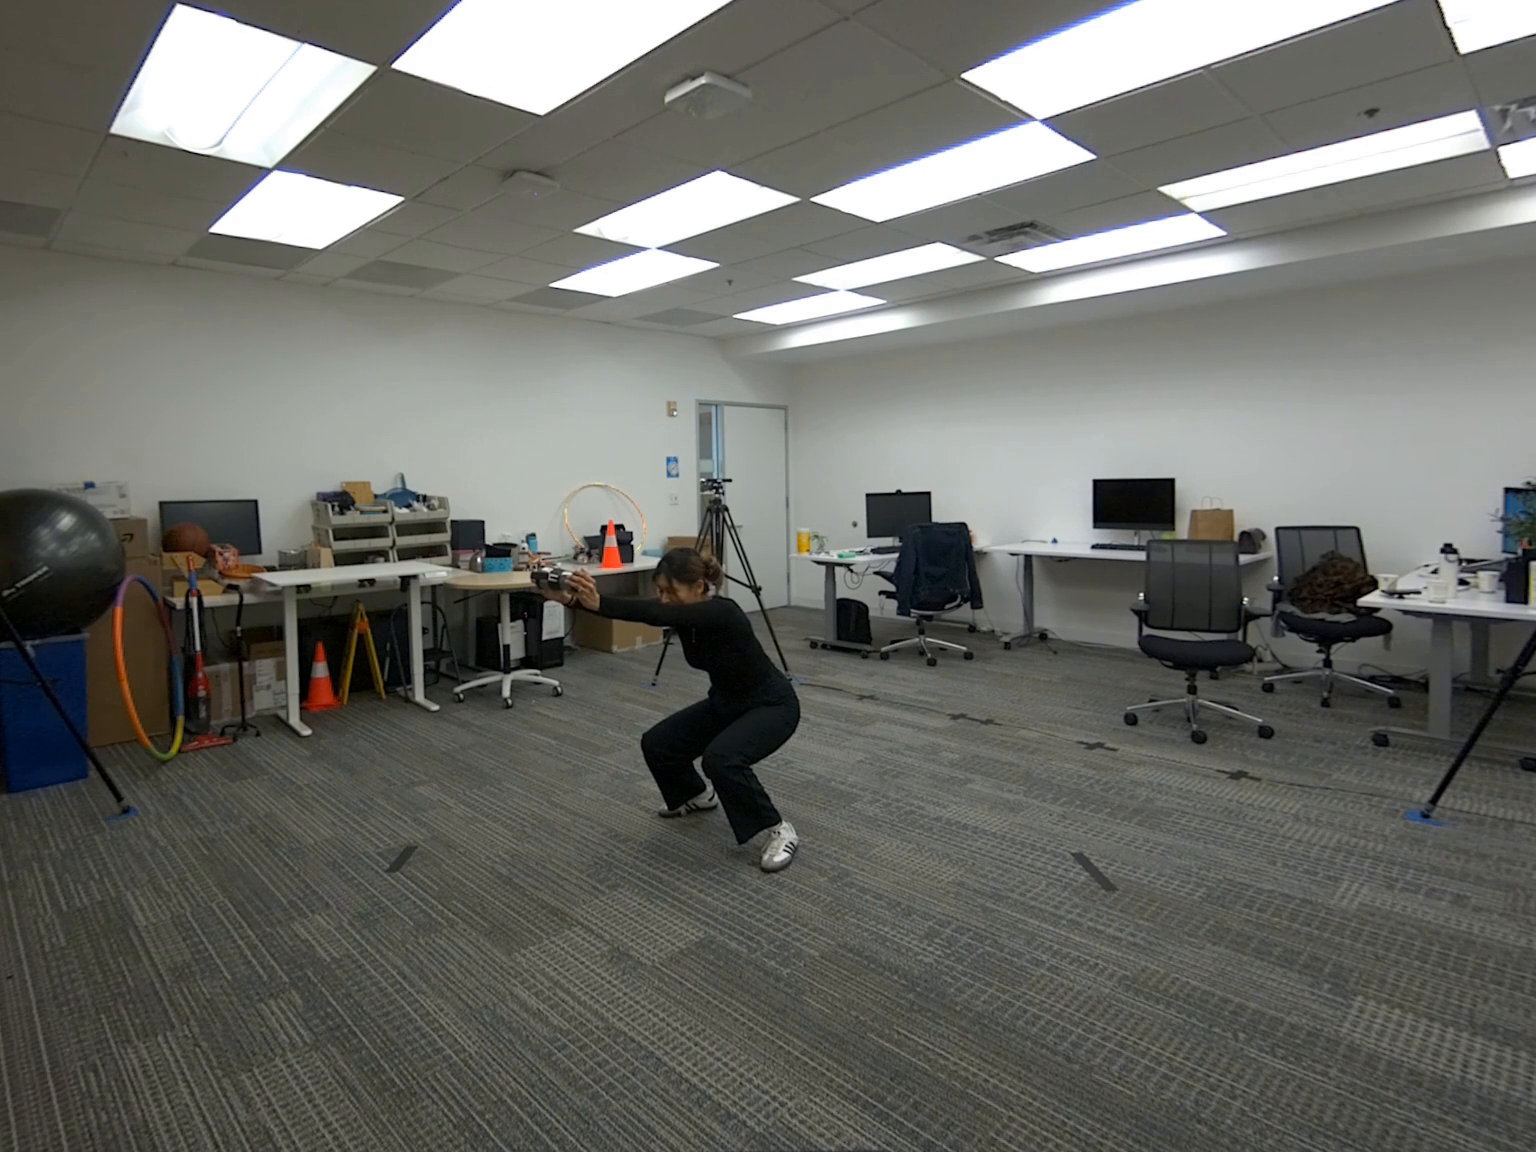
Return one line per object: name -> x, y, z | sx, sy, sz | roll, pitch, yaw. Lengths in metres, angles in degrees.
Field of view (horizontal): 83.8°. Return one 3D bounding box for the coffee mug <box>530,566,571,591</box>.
coffee mug -> -0.693, 0.021, 2.834 | 0.119, 0.087, 0.209 | -14, 10, -35
